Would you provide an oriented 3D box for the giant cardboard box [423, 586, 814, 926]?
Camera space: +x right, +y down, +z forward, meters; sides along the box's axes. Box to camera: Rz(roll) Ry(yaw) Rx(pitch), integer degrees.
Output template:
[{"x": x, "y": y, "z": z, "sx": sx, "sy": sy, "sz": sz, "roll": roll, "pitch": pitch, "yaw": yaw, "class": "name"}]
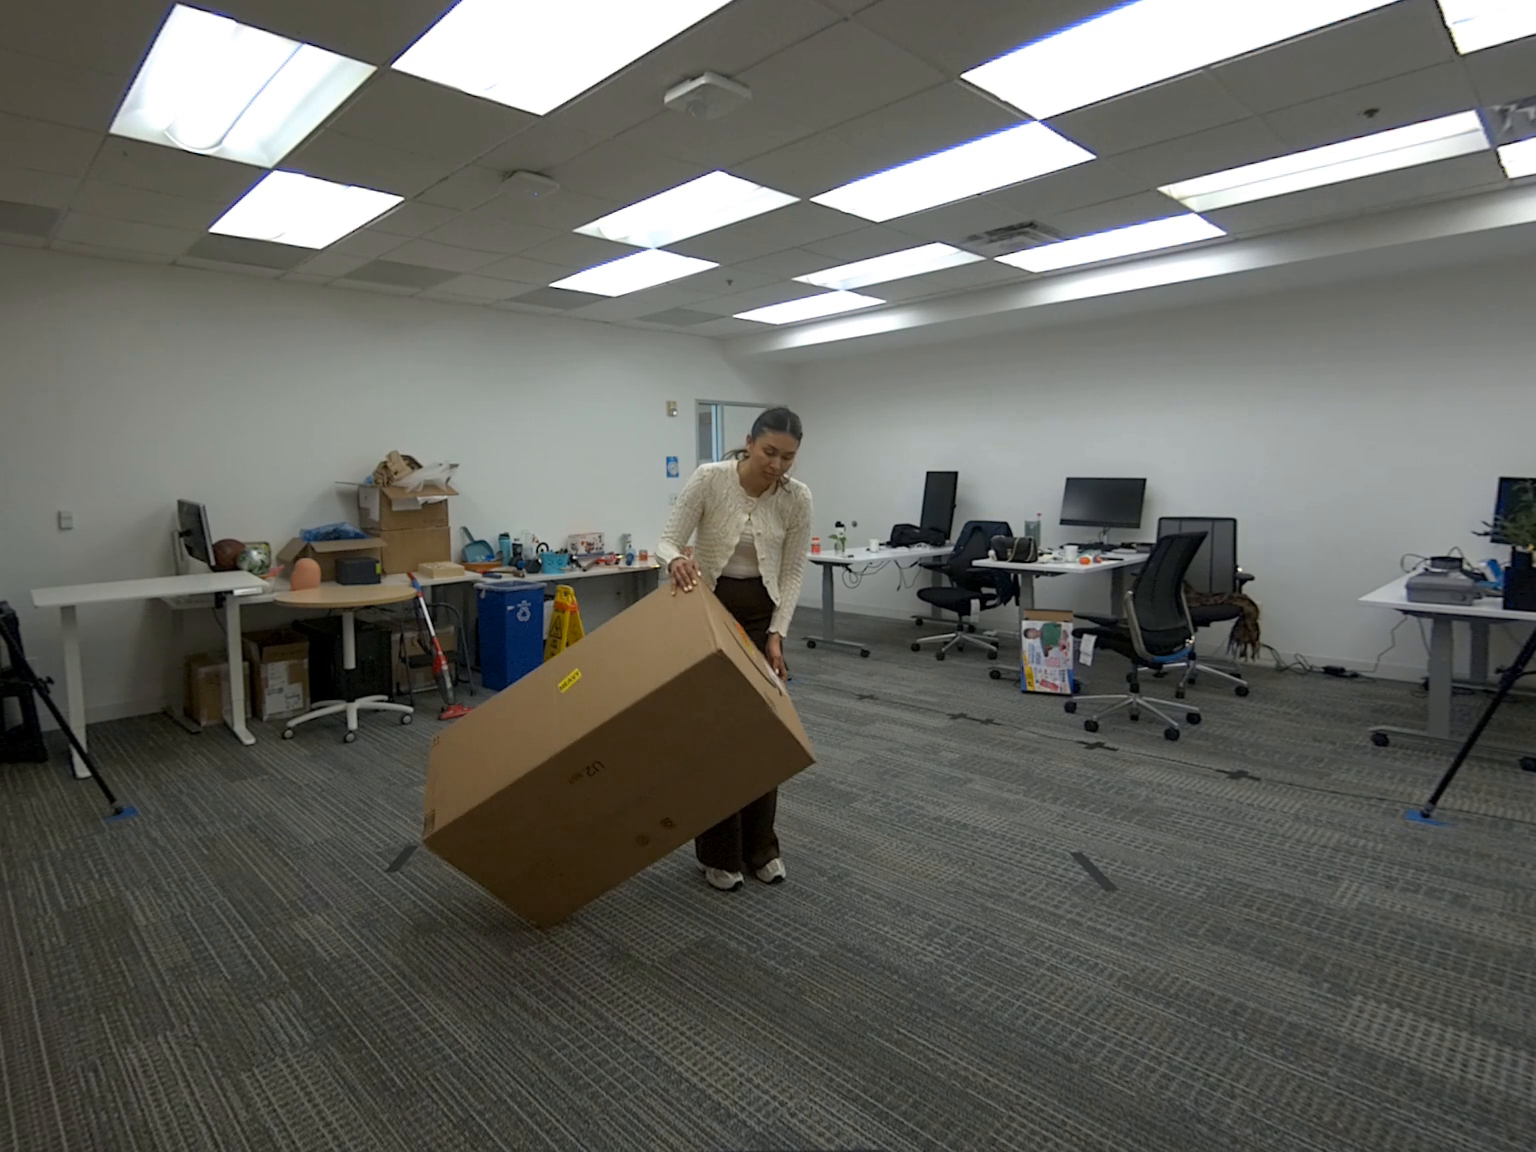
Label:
[{"x": -0.470, "y": 0.553, "z": 2.651, "sx": 1.028, "sy": 0.557, "sz": 0.440, "roll": -33, "pitch": 34, "yaw": 8, "class": "giant cardboard box"}]
